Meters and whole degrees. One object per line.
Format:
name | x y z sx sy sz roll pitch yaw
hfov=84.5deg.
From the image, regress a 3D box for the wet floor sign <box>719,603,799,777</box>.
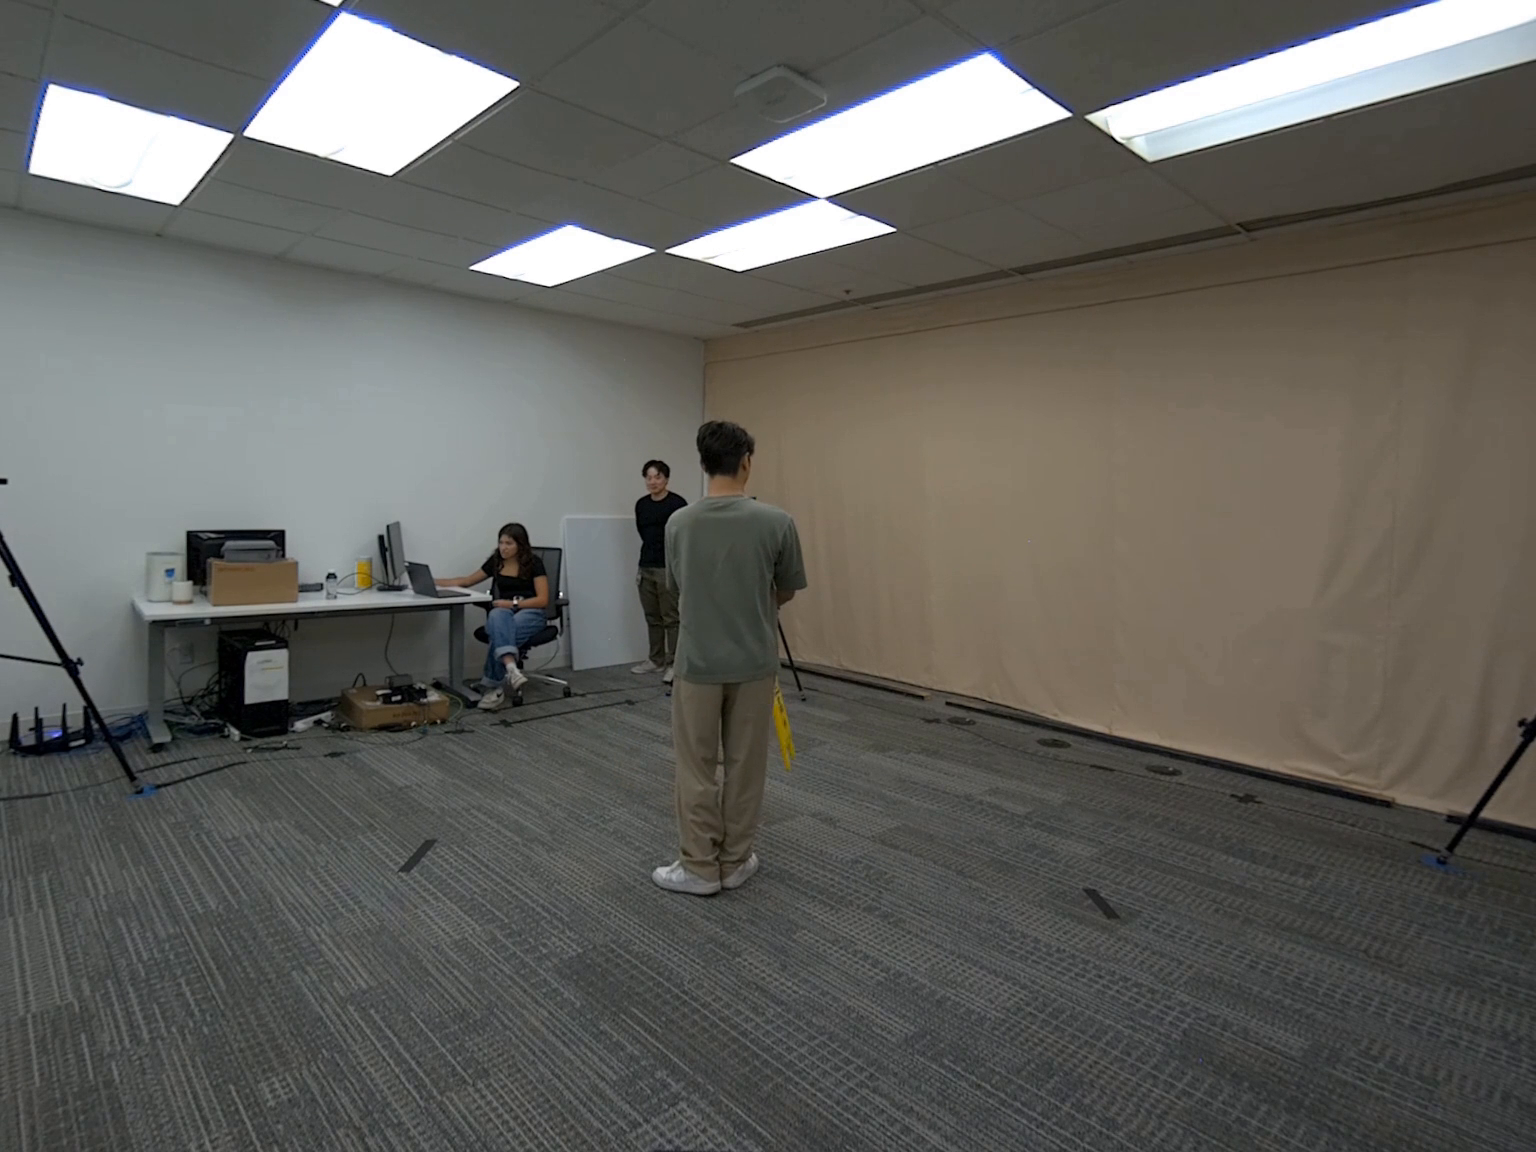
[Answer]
wet floor sign | -0.053 0.447 3.420 0.291 0.647 0.280 -3 -1 7
